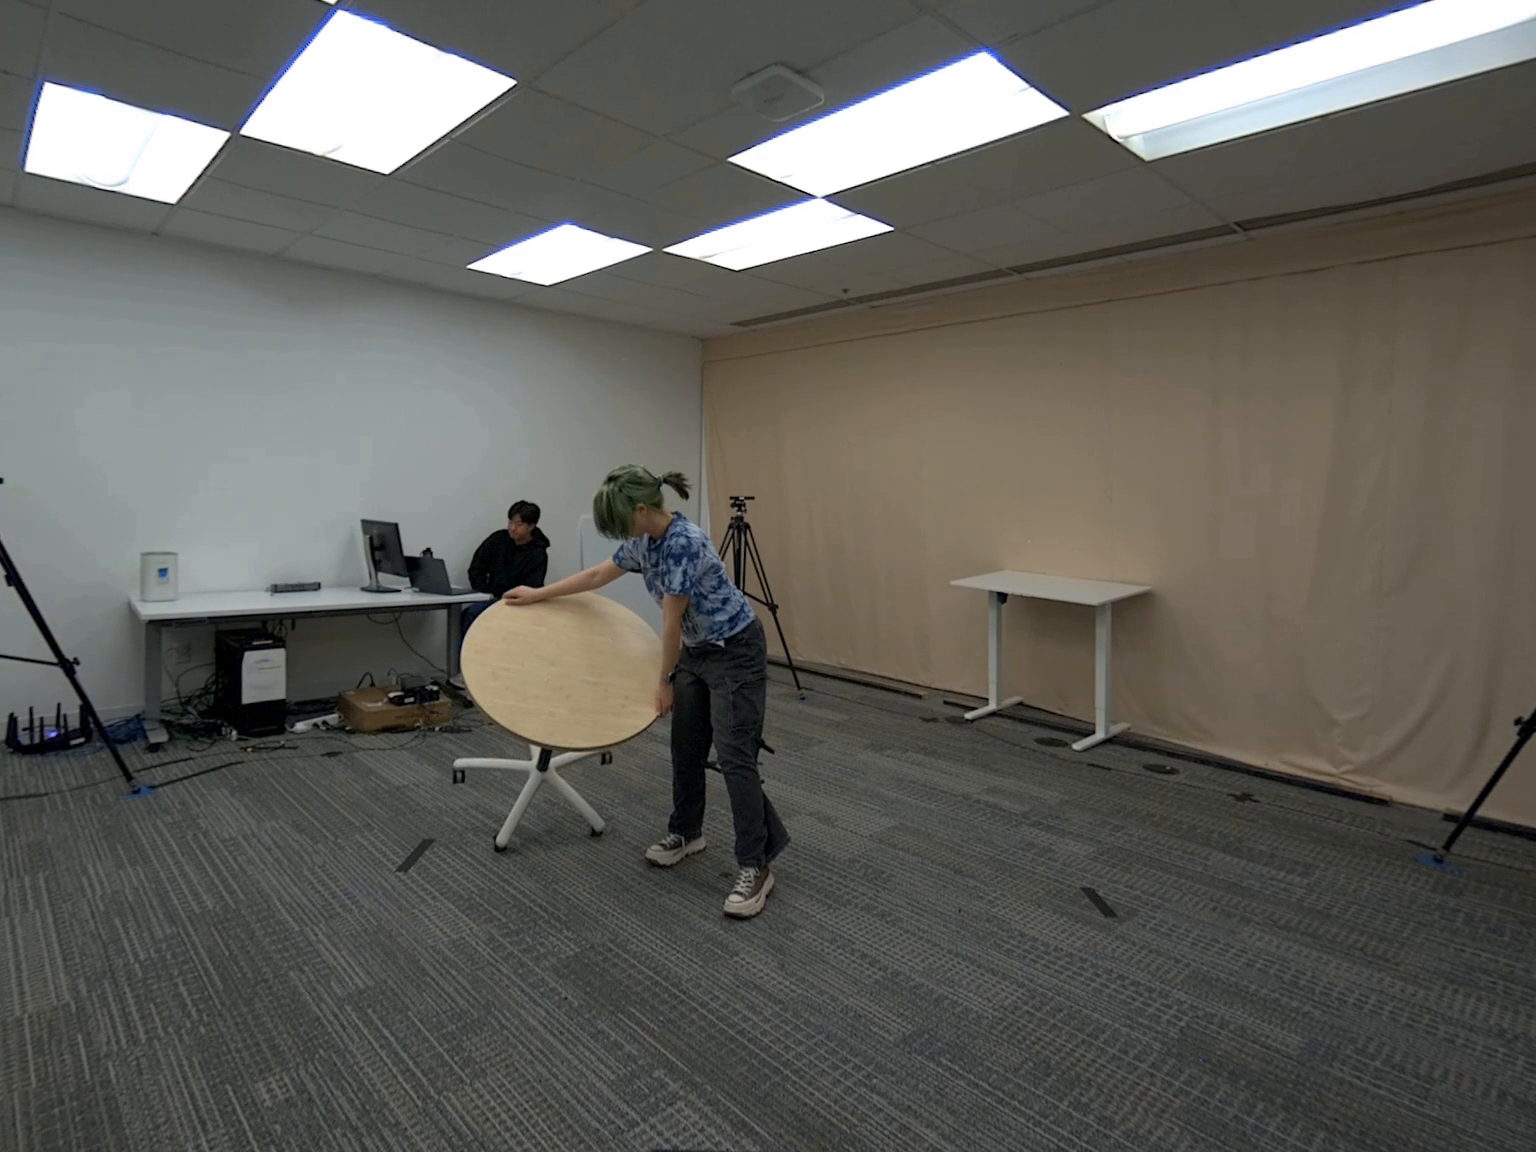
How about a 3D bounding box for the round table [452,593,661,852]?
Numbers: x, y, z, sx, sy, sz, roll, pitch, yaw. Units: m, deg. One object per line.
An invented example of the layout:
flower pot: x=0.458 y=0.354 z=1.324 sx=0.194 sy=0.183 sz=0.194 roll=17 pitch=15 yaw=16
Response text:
round table: x=-0.859 y=0.594 z=3.317 sx=0.756 sy=0.785 sz=0.781 roll=13 pitch=37 yaw=-12
